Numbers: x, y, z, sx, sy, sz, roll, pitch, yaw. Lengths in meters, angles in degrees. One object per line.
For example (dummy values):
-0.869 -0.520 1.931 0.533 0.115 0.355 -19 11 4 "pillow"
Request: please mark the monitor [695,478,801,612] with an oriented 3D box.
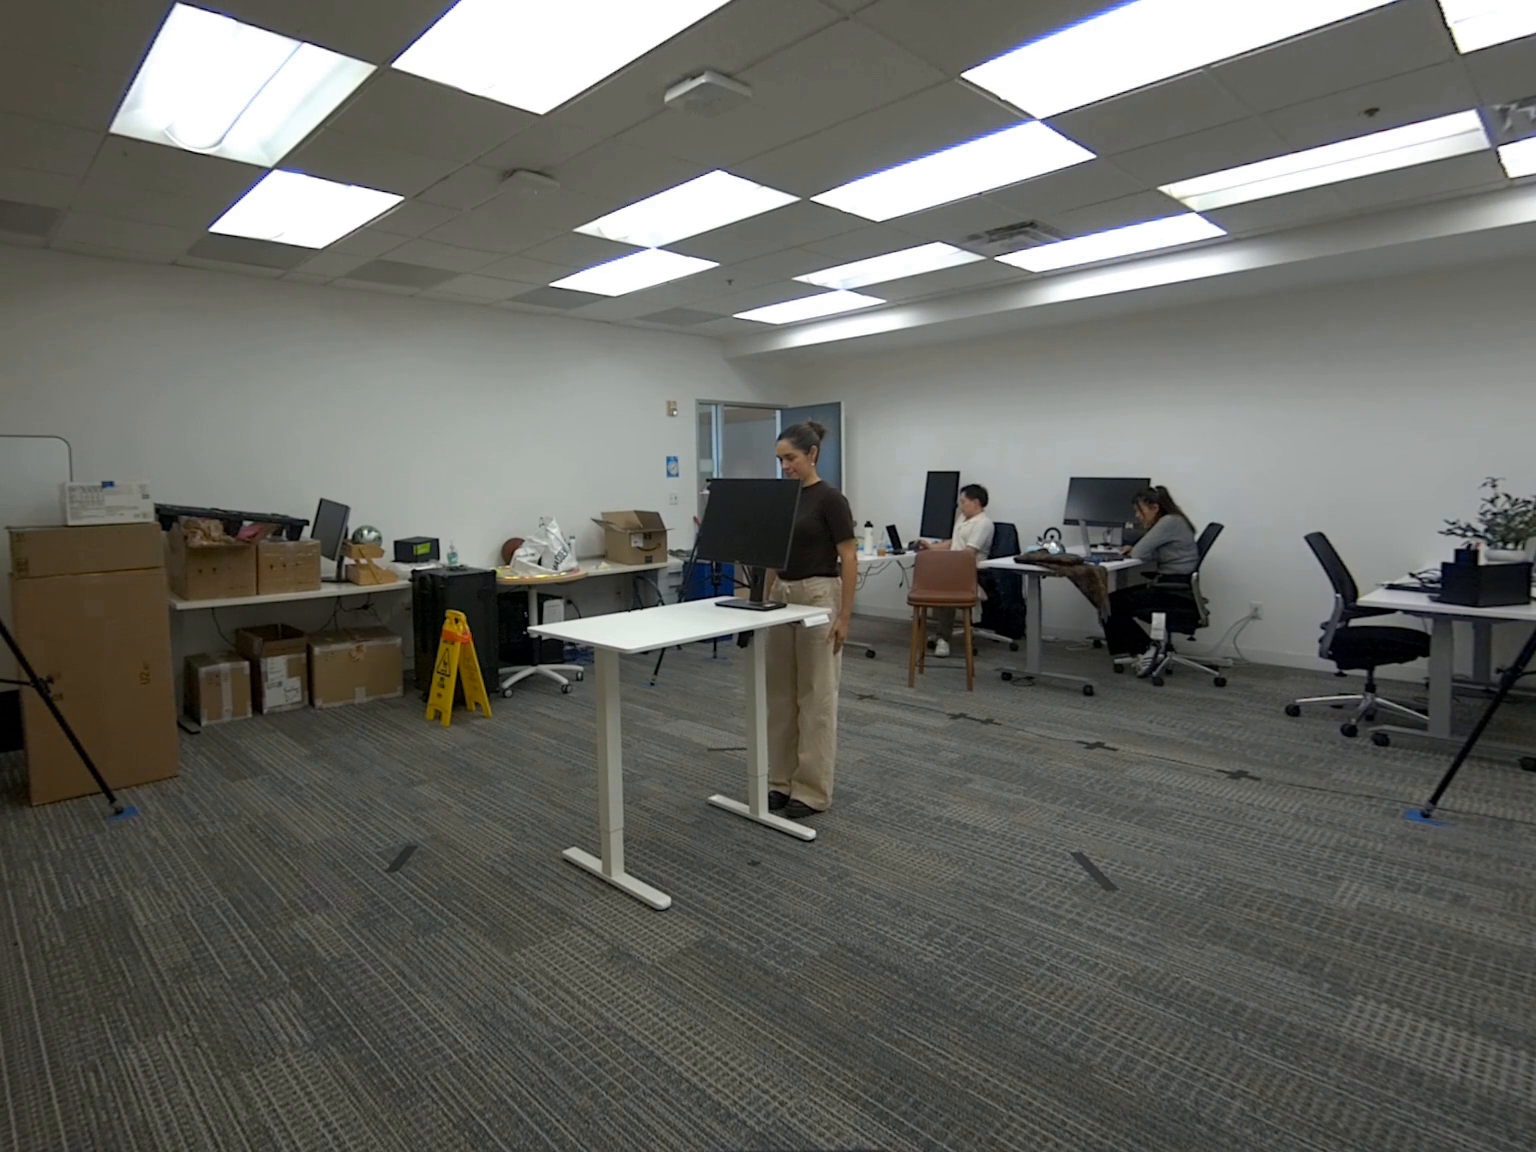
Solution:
-0.066 -0.131 3.439 0.182 0.521 0.556 -3 6 -44 "monitor"
